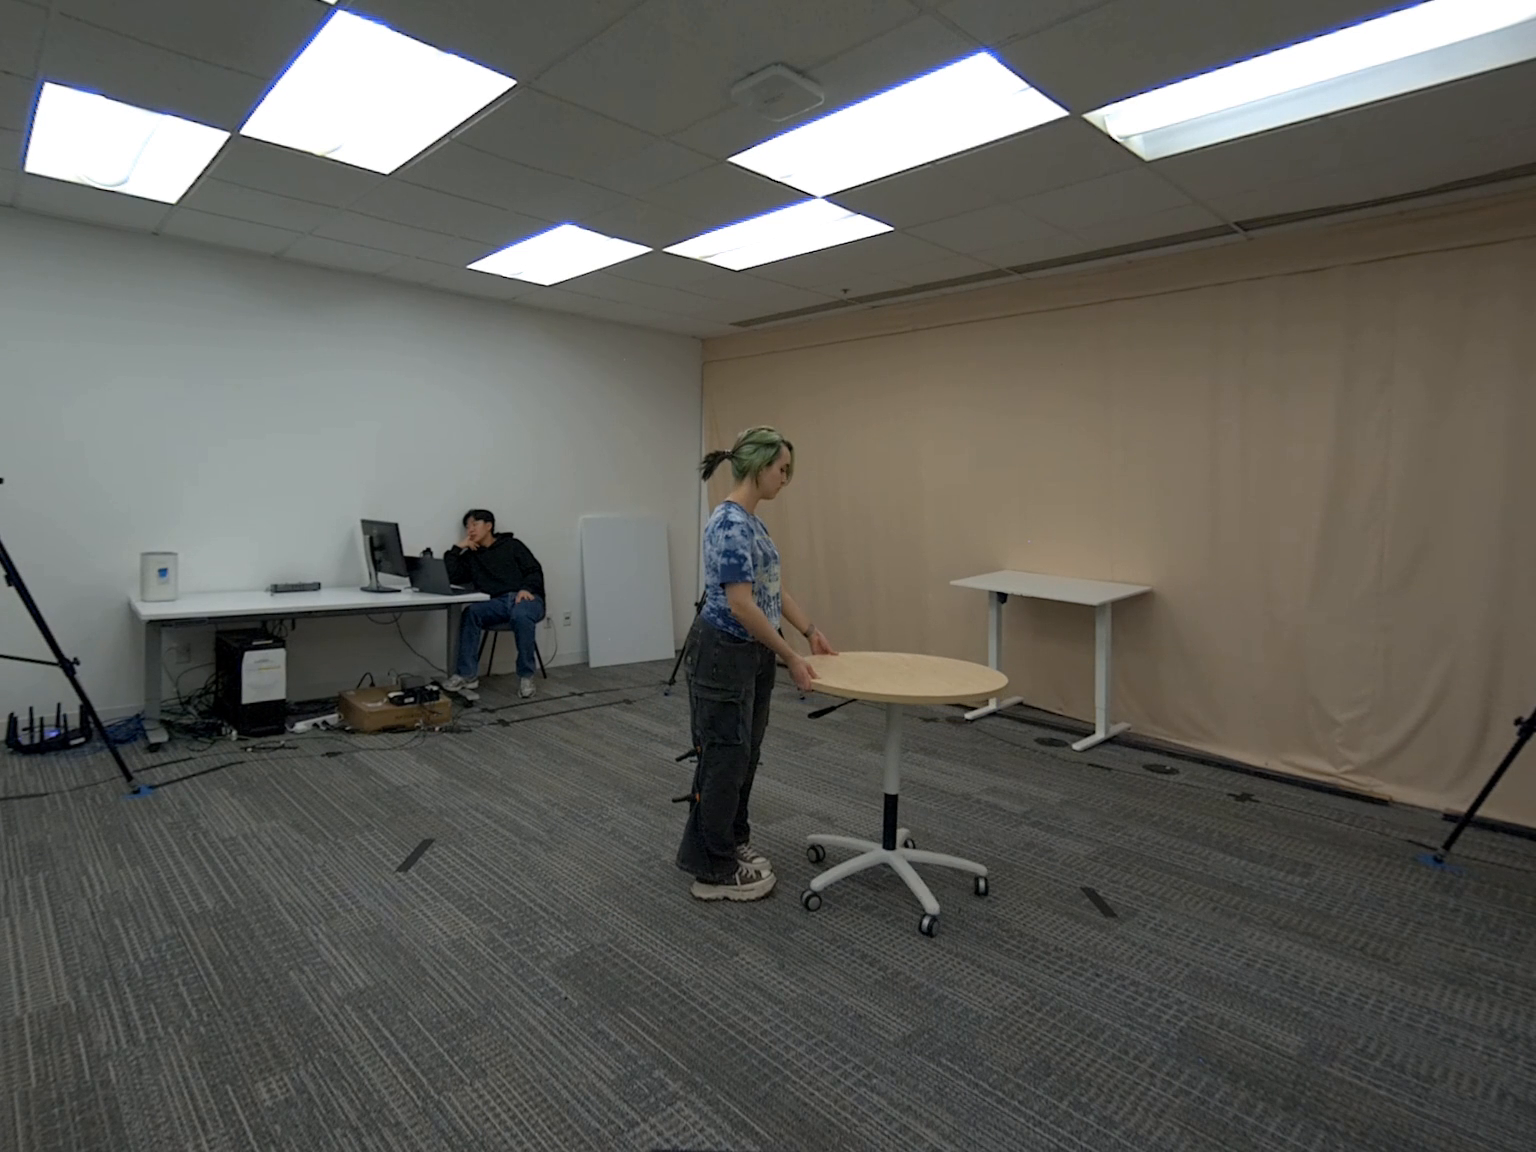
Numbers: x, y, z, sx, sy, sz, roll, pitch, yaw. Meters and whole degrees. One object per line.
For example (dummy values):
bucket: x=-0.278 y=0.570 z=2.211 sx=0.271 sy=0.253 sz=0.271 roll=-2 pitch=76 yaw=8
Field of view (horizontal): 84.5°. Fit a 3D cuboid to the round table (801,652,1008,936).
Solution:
round table: x=0.431 y=0.733 z=3.027 sx=0.763 sy=0.792 sz=0.766 roll=2 pitch=4 yaw=-1
